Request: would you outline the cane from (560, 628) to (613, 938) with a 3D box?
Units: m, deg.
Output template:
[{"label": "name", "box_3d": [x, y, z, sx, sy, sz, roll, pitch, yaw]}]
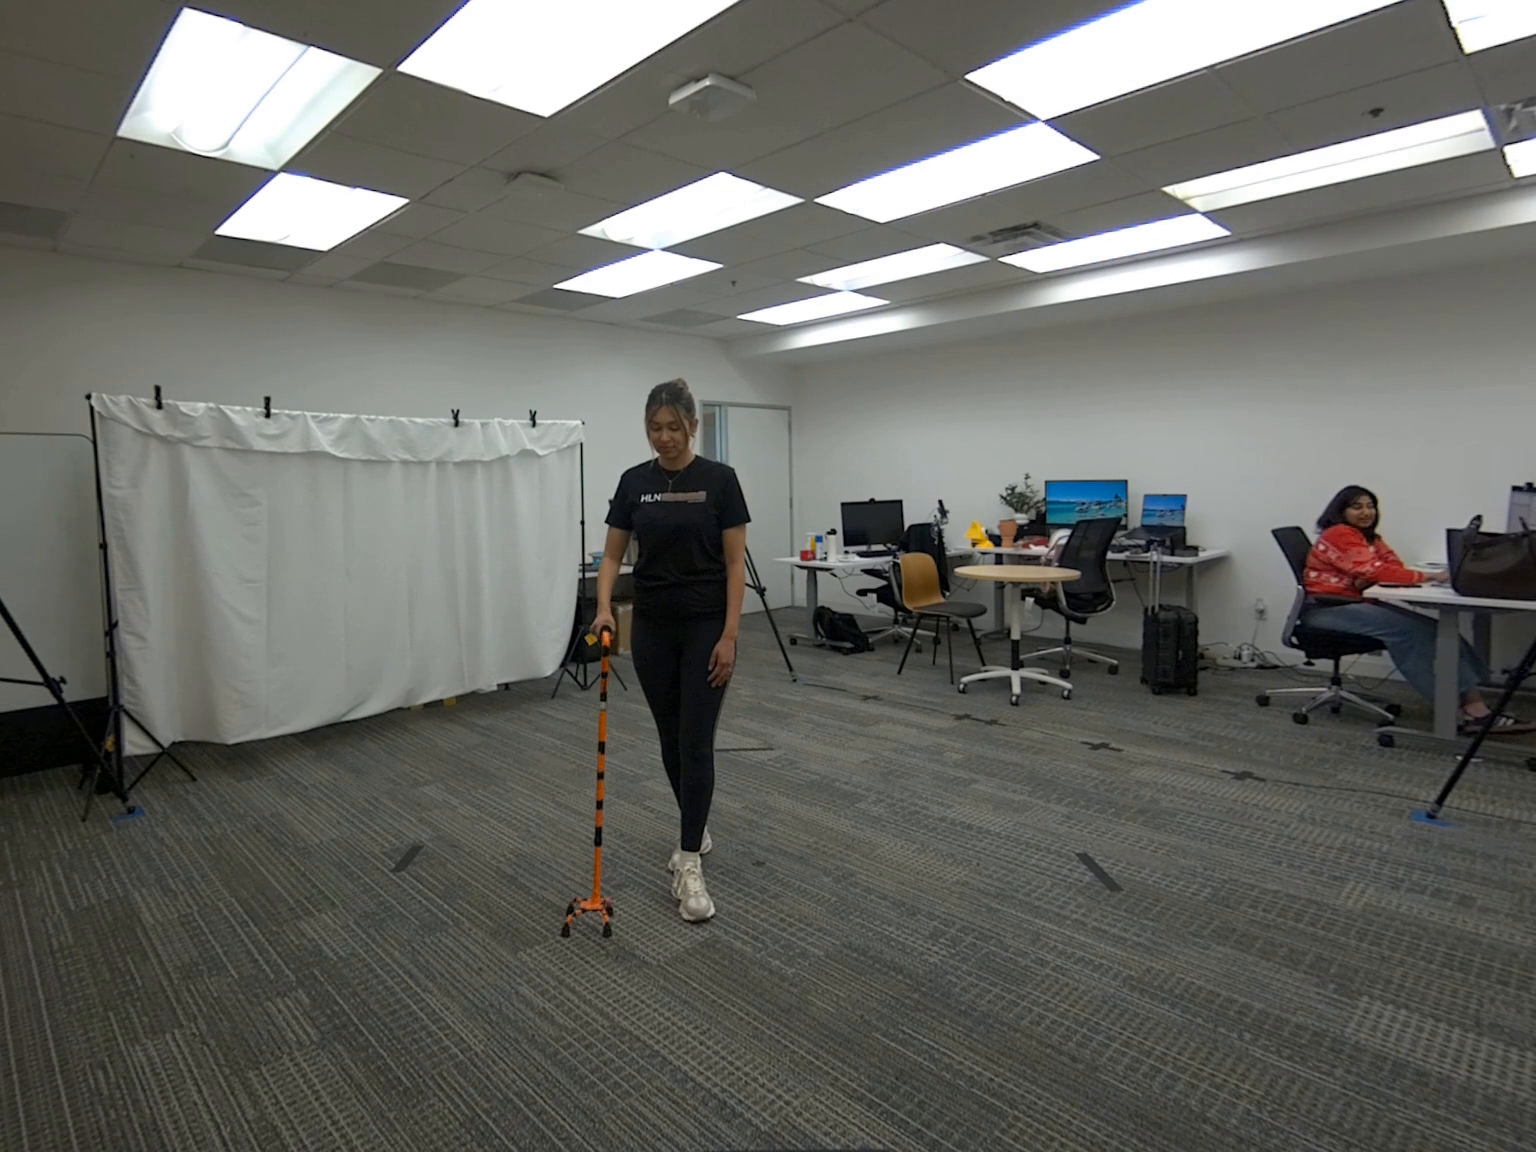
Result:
[{"label": "cane", "box_3d": [-0.532, 0.624, 2.667, 0.150, 0.913, 0.207, 3, -6, -9]}]
